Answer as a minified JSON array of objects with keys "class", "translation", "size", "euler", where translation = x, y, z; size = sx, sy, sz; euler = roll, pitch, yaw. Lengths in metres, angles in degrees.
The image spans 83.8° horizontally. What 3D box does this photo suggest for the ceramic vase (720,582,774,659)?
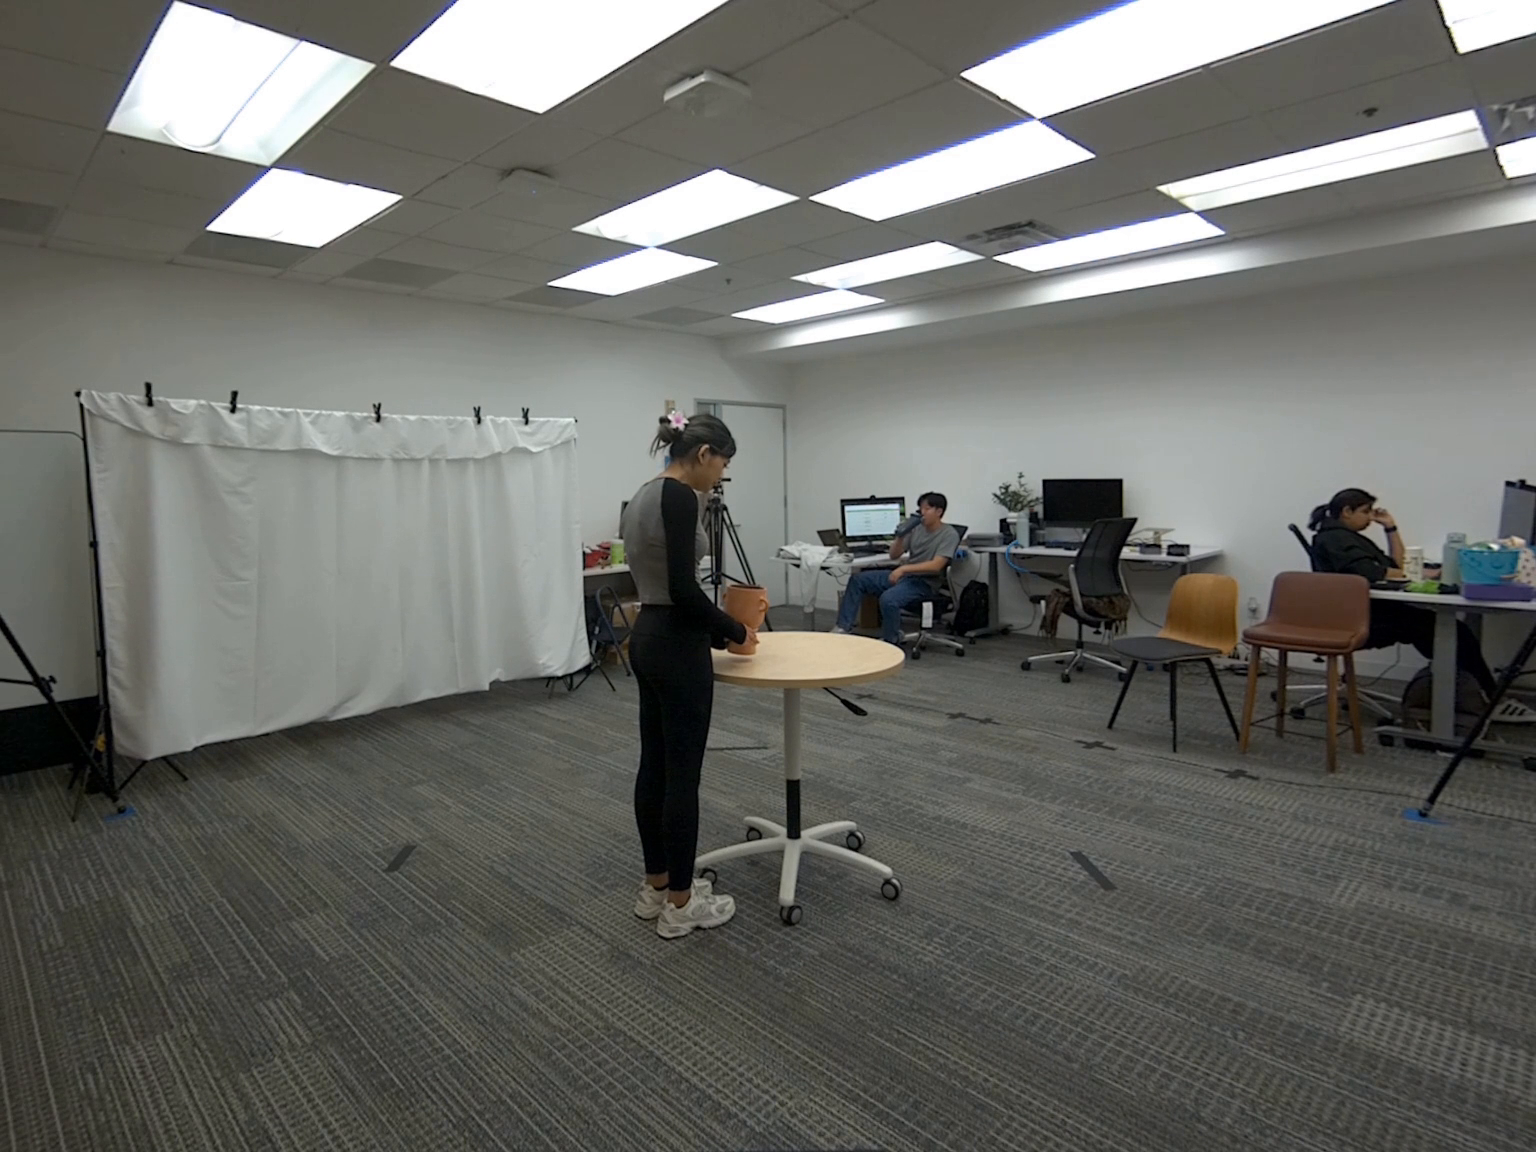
[{"class":"ceramic vase","translation":[-0.076,0.143,2.845],"size":[0.133,0.219,0.161],"euler":[4,4,-13]}]
